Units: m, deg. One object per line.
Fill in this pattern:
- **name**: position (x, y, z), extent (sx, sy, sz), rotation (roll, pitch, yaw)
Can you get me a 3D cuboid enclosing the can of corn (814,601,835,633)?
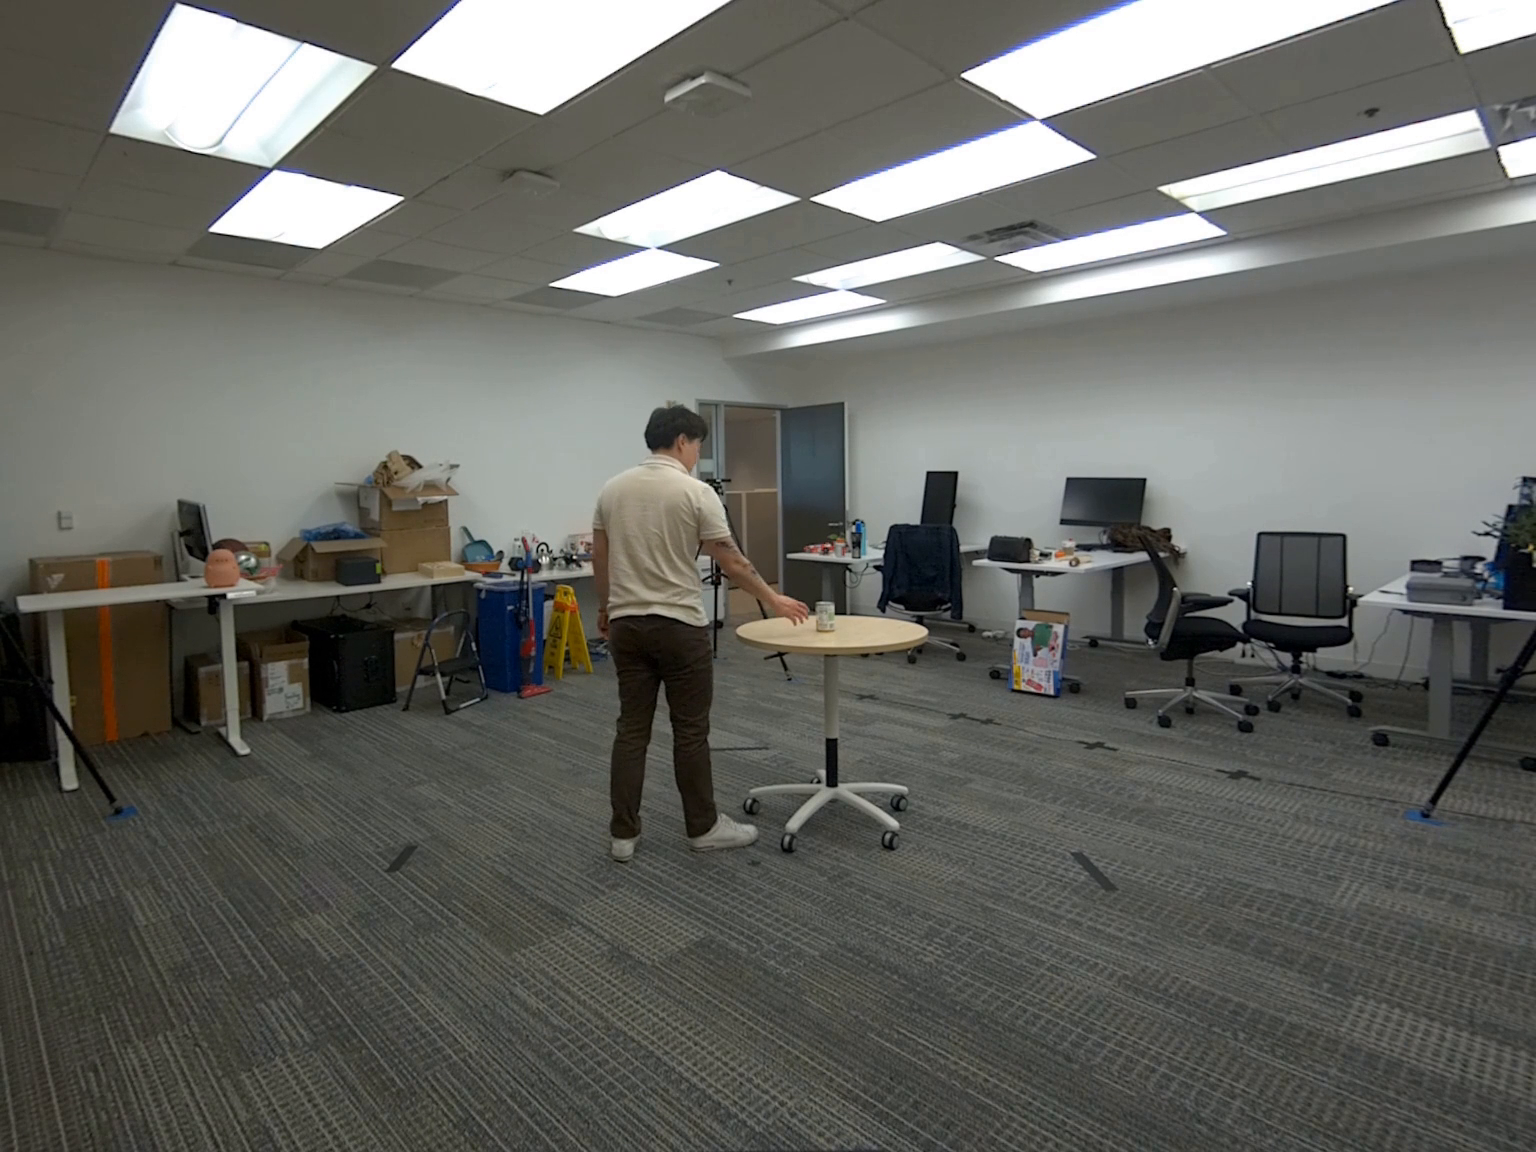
- **can of corn**: position (0.228, 0.160, 3.413), extent (0.074, 0.111, 0.074), rotation (0, 4, -2)
